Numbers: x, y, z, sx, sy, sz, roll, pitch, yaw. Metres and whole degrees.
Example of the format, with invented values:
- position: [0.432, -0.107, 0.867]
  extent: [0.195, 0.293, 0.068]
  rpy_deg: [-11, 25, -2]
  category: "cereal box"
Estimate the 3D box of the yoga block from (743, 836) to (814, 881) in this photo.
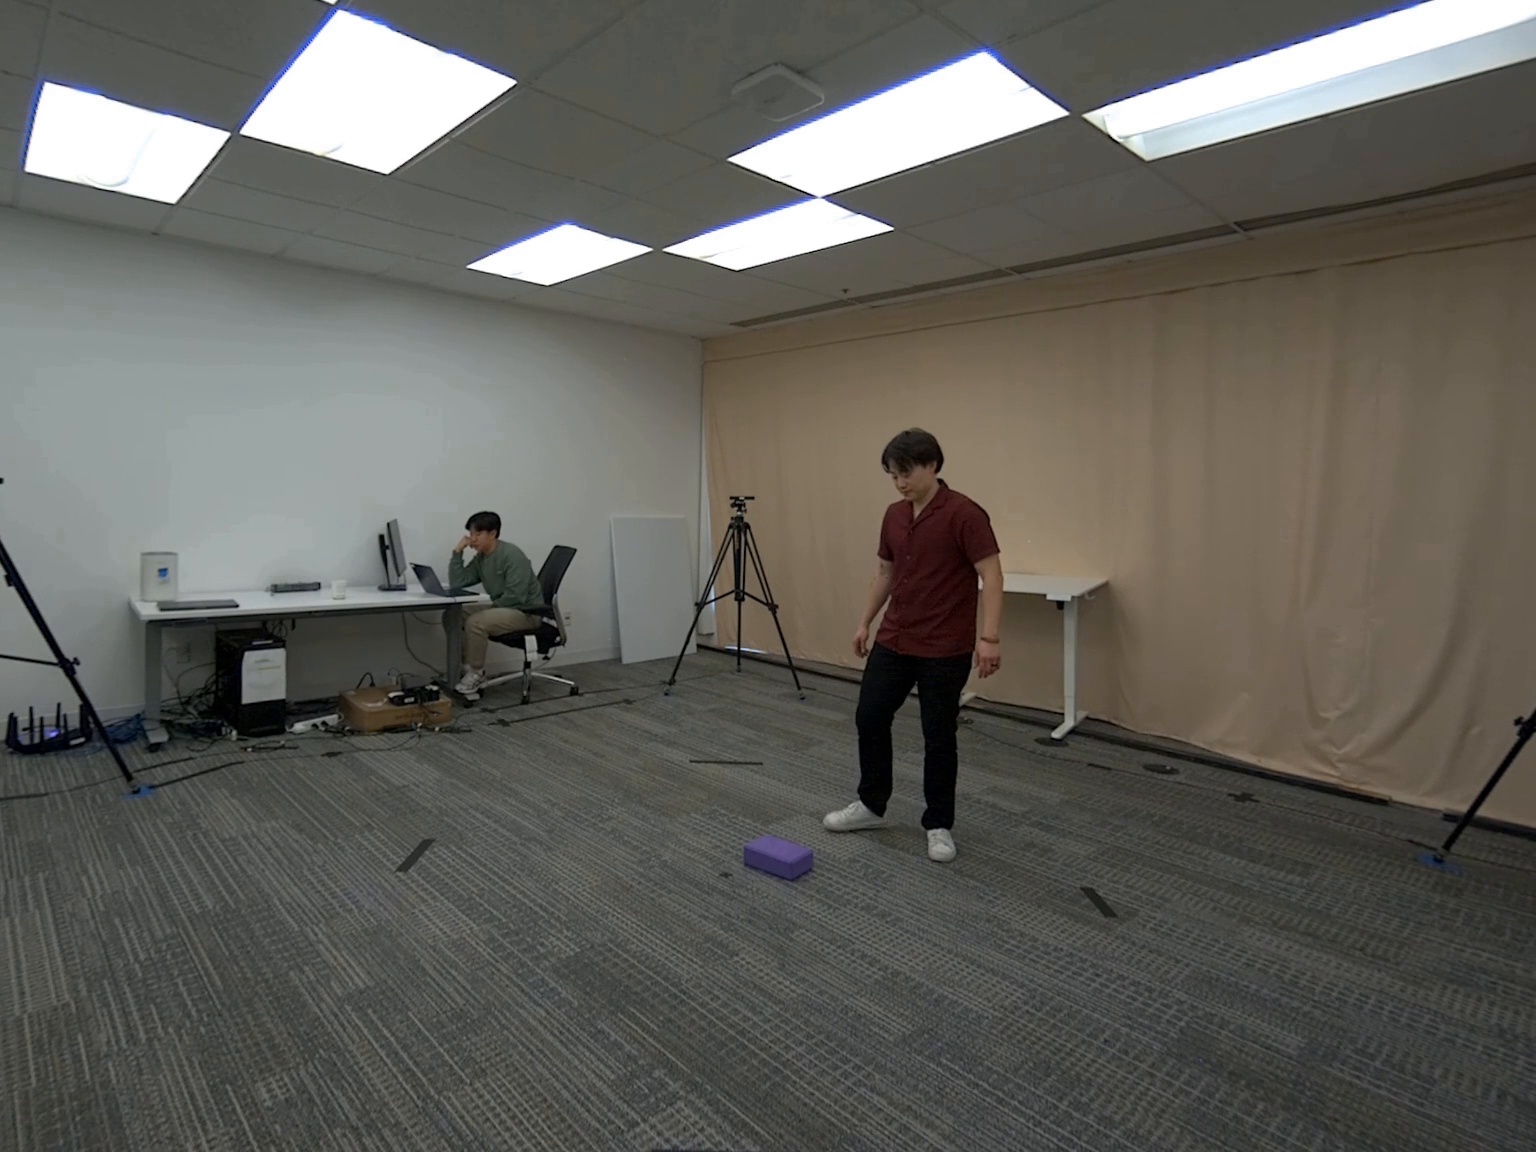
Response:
- position: [0.032, 1.062, 3.179]
  extent: [0.235, 0.076, 0.146]
  rpy_deg: [4, 6, 38]
  category: "yoga block"
